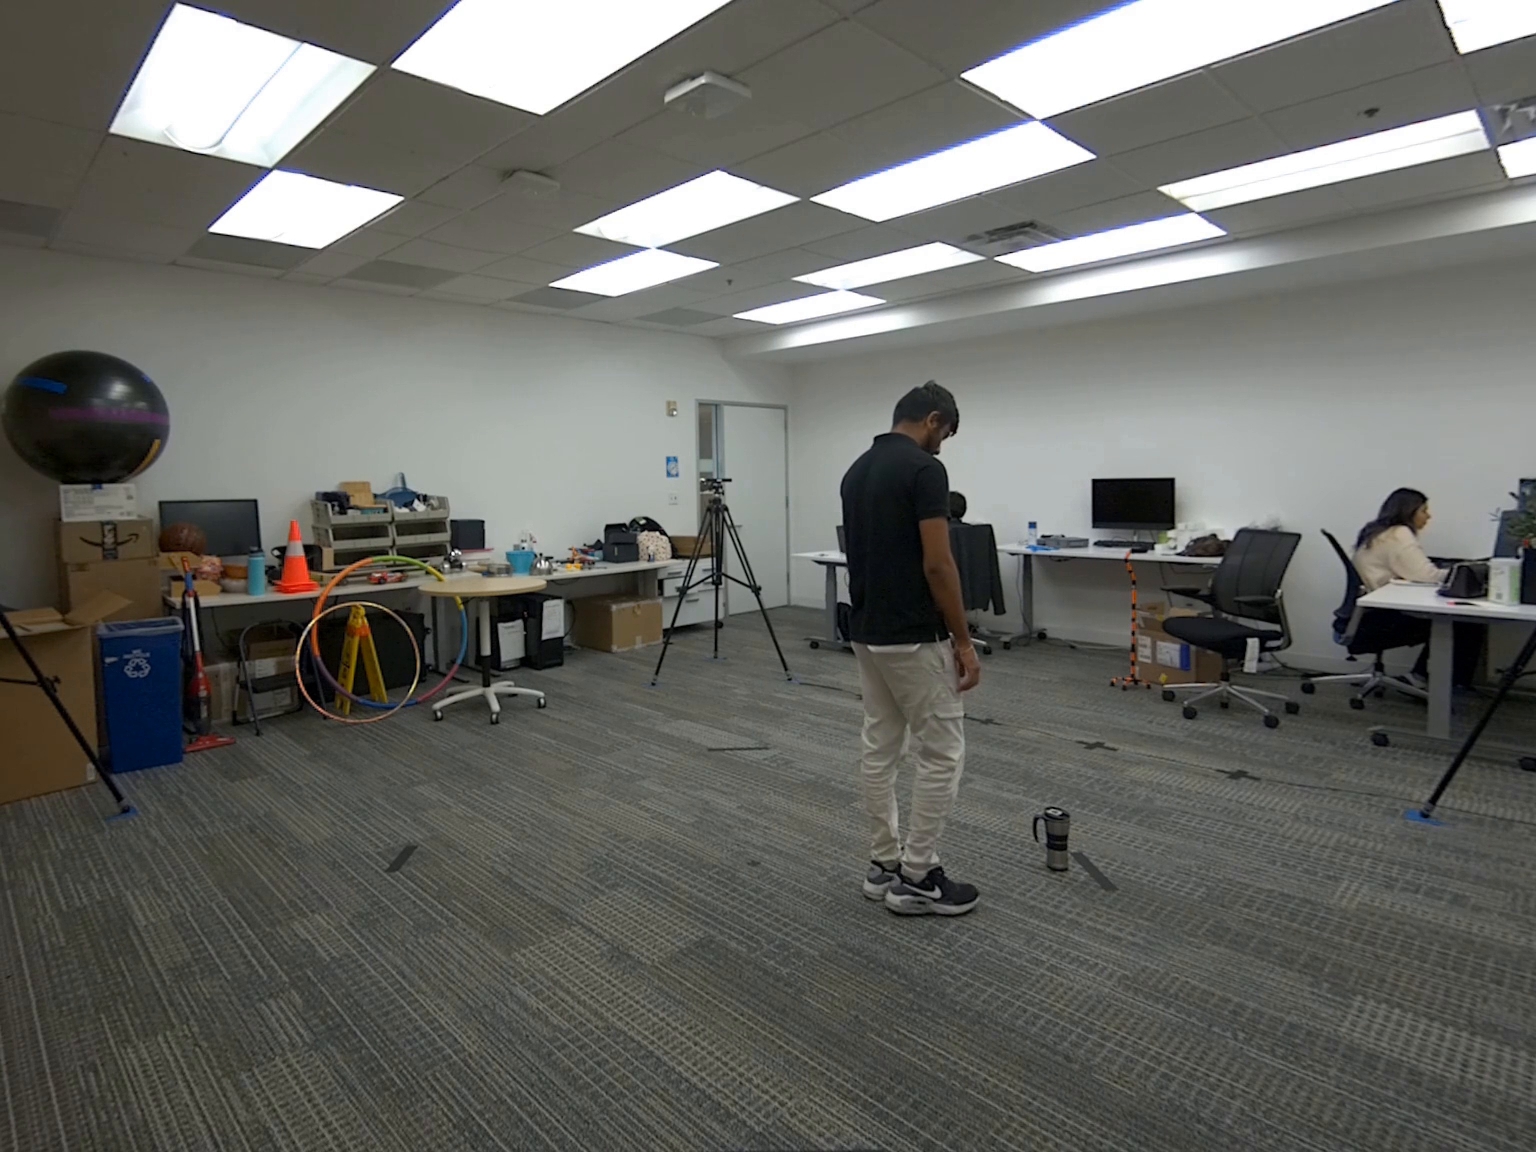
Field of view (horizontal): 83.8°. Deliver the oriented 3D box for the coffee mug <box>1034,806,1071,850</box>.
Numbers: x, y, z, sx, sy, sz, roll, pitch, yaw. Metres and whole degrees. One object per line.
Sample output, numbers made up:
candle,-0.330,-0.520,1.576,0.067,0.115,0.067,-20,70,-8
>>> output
coffee mug,1.015,0.936,3.038,0.126,0.201,0.086,8,13,43
